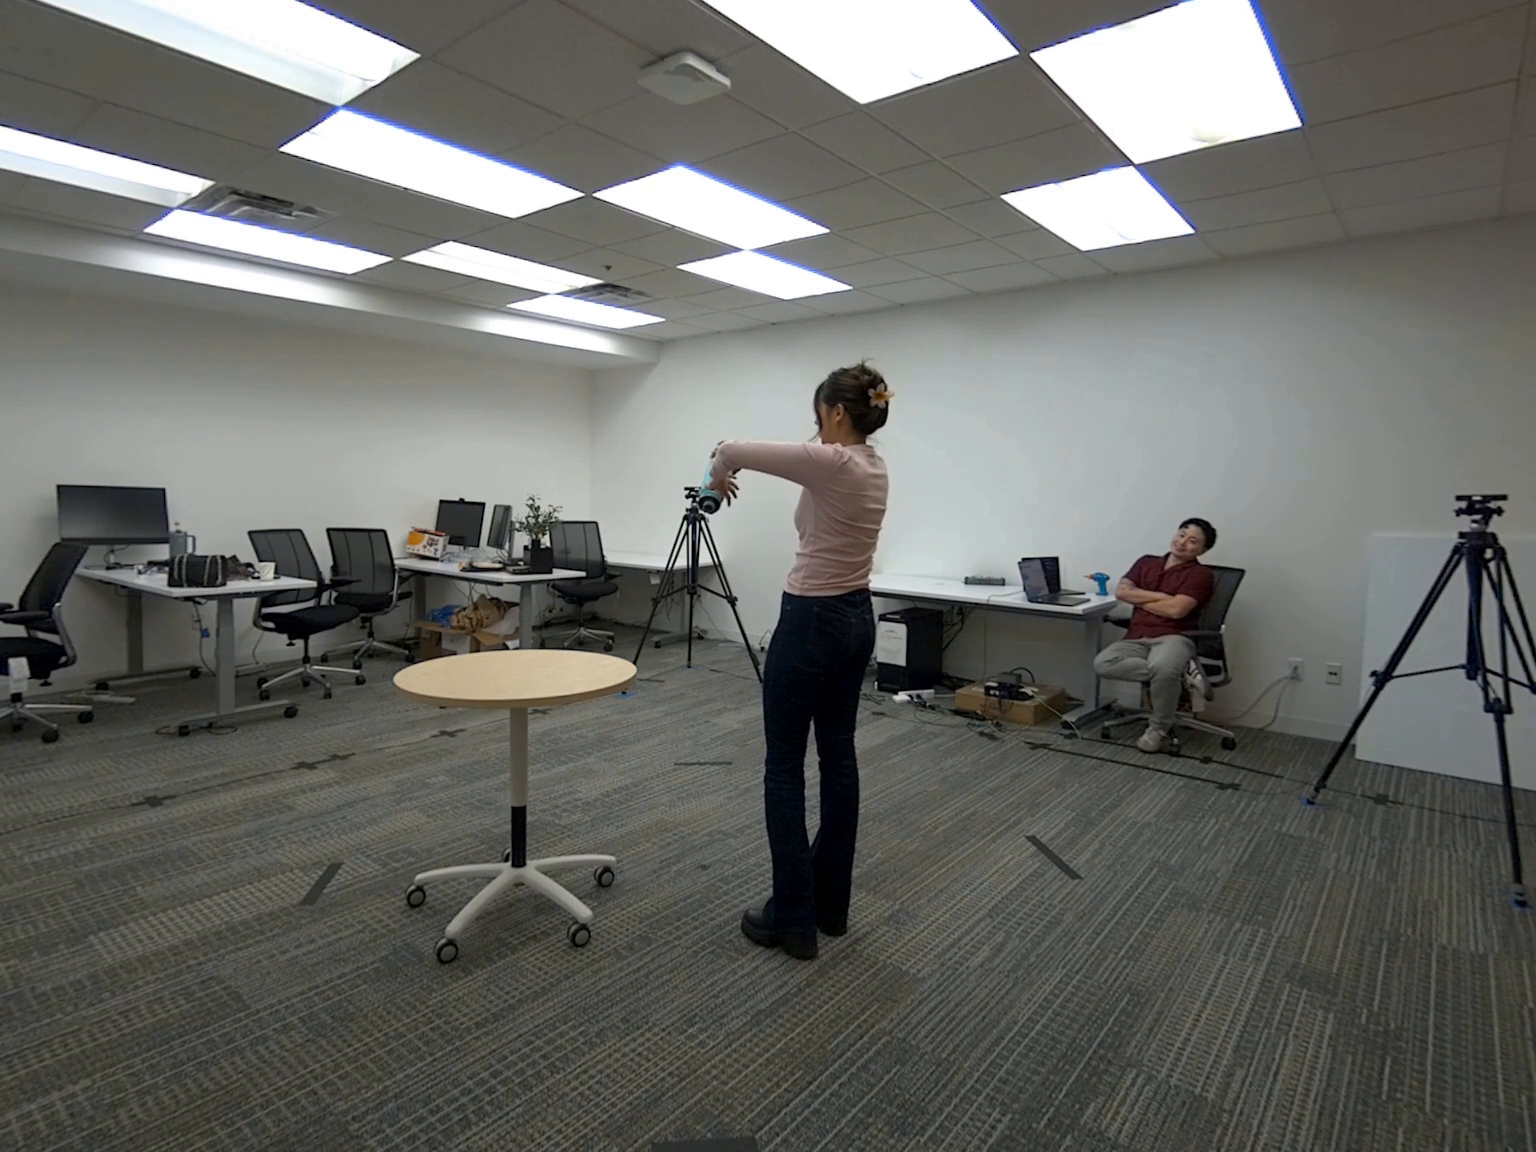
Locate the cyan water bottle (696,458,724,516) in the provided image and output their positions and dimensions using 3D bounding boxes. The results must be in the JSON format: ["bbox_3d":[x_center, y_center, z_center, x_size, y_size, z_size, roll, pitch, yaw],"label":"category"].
[{"bbox_3d":[-0.187,-0.332,3.006,0.093,0.288,0.090,11,-34,5],"label":"cyan water bottle"}]
